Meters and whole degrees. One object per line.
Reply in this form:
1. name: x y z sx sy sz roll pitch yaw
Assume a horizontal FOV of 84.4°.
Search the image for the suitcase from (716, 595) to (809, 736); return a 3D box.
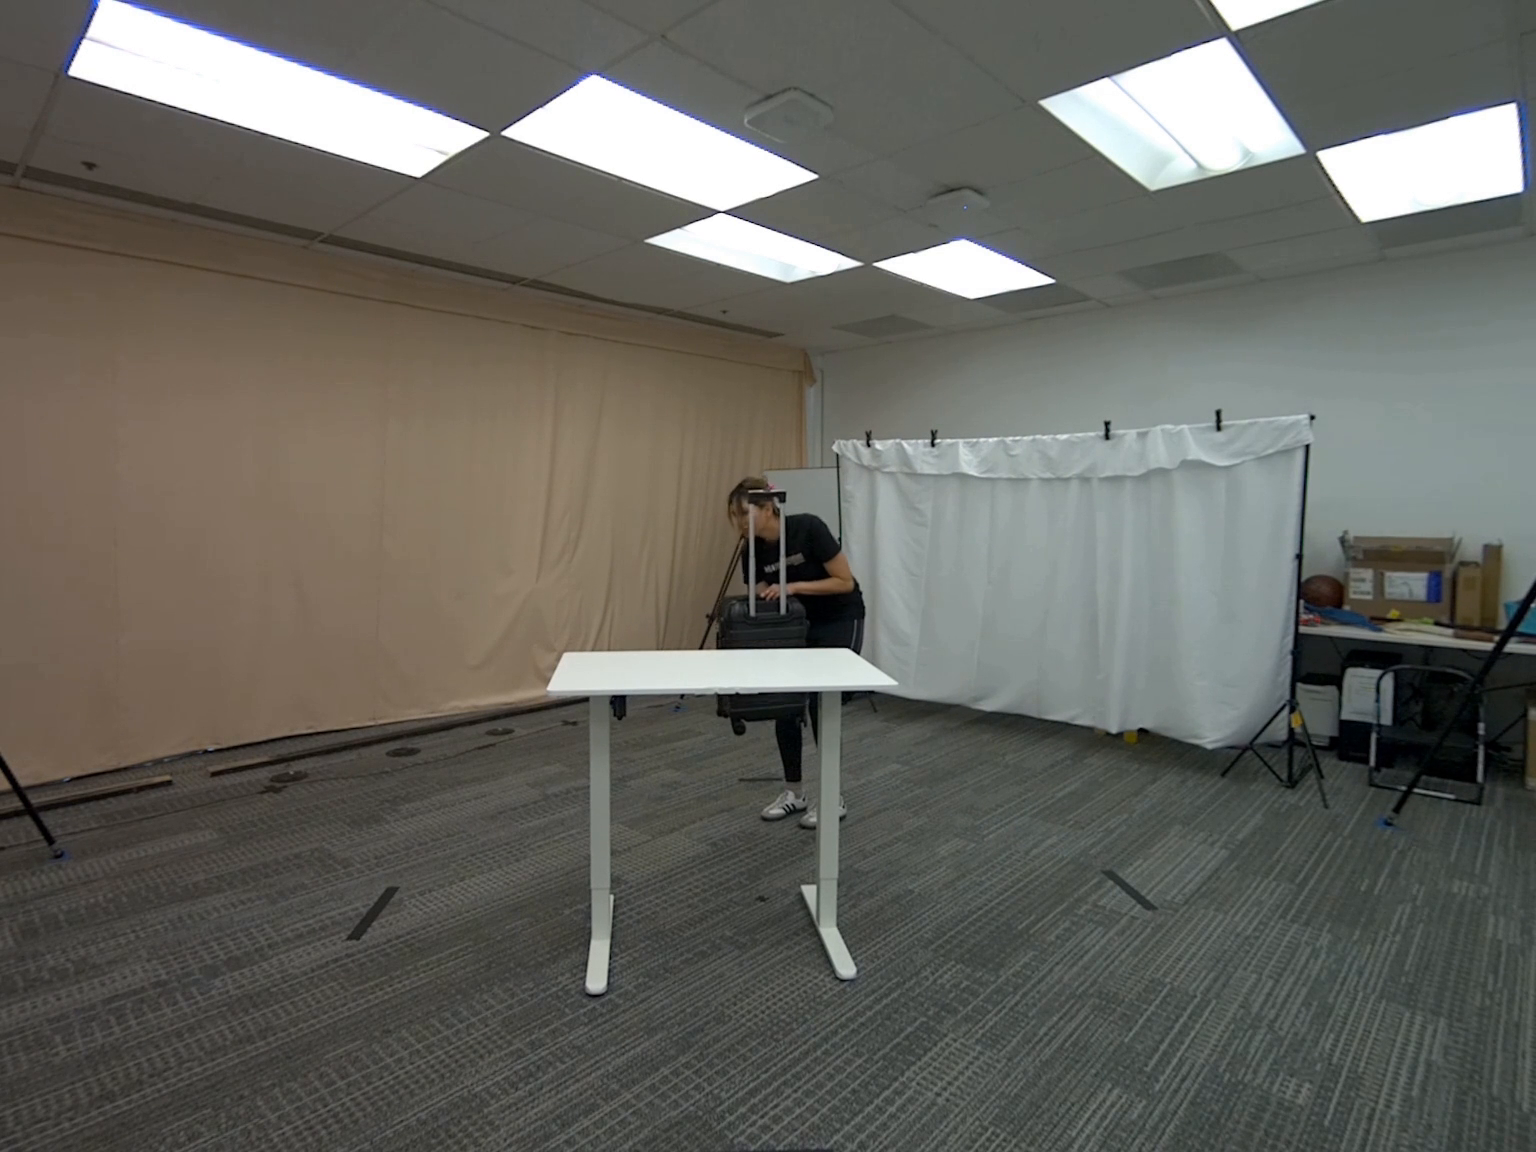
1. suitcase: -0.041 0.139 3.489 0.379 0.975 0.261 -3 5 -12
